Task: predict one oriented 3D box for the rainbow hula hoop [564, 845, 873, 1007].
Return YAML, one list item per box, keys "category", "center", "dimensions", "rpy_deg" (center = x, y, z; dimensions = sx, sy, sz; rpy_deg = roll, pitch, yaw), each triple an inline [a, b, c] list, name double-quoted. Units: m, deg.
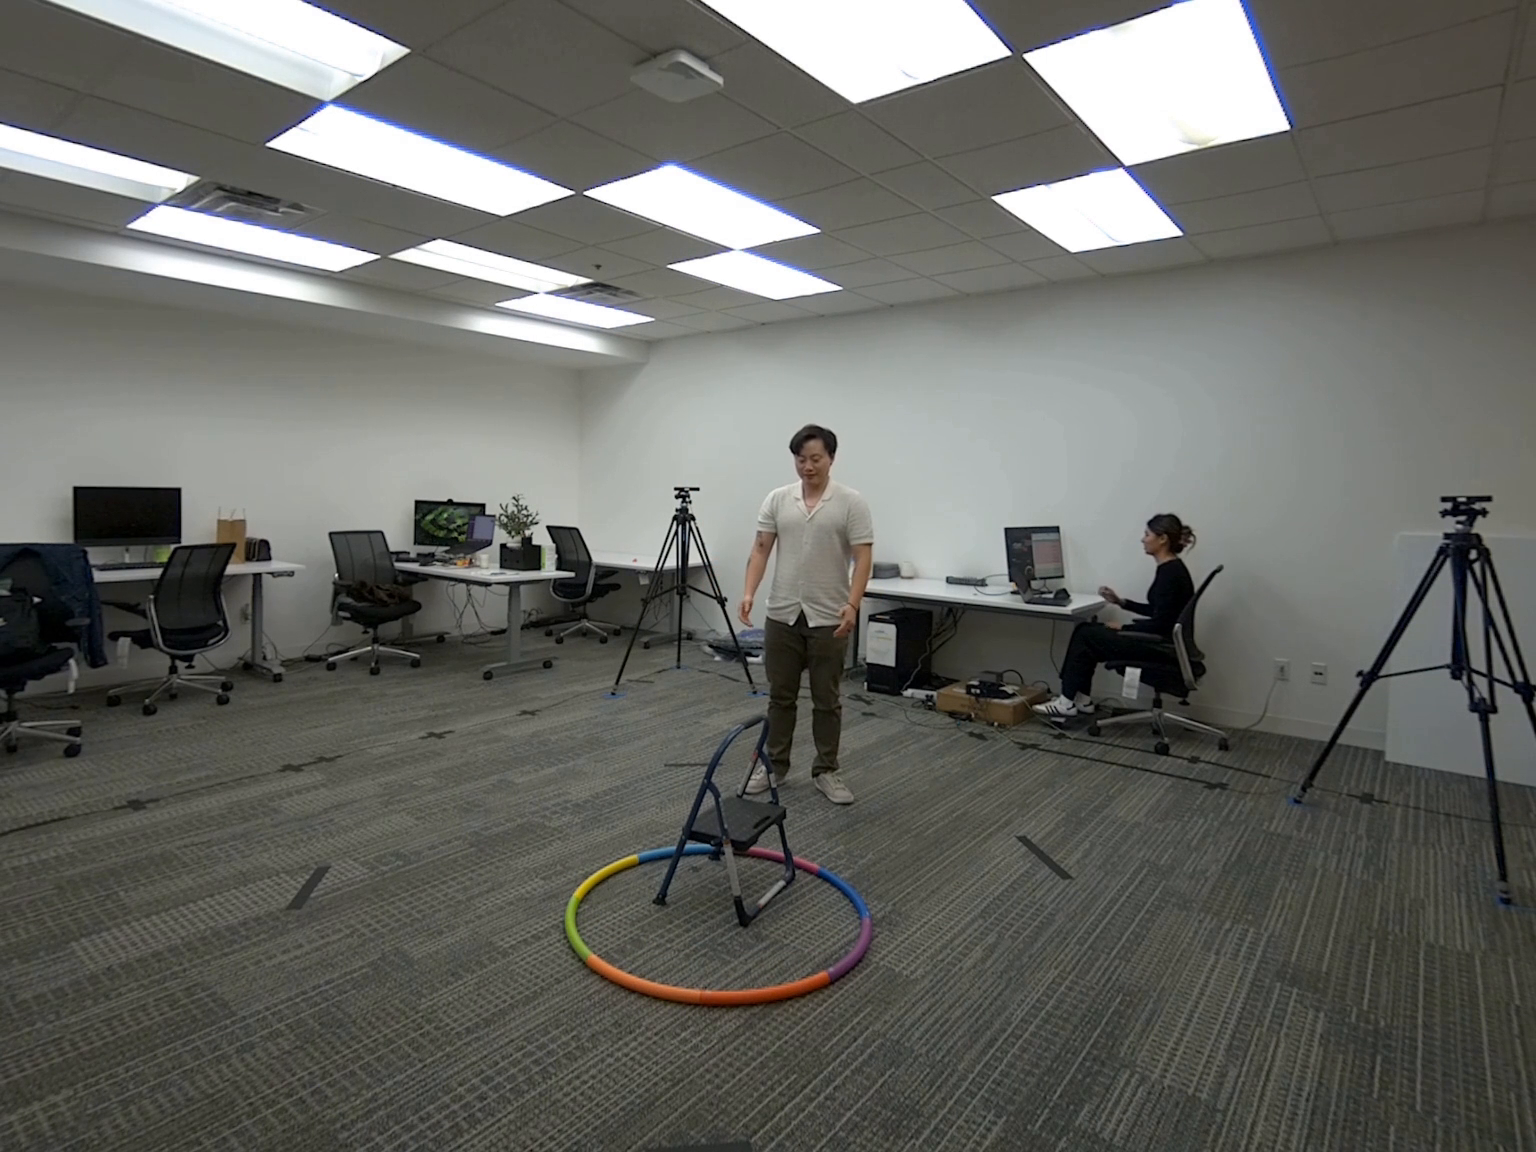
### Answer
- category: "rainbow hula hoop"
  center: [-0.168, 1.070, 2.762]
  dimensions: [0.978, 0.035, 0.984]
  rpy_deg: [1, 6, -2]
